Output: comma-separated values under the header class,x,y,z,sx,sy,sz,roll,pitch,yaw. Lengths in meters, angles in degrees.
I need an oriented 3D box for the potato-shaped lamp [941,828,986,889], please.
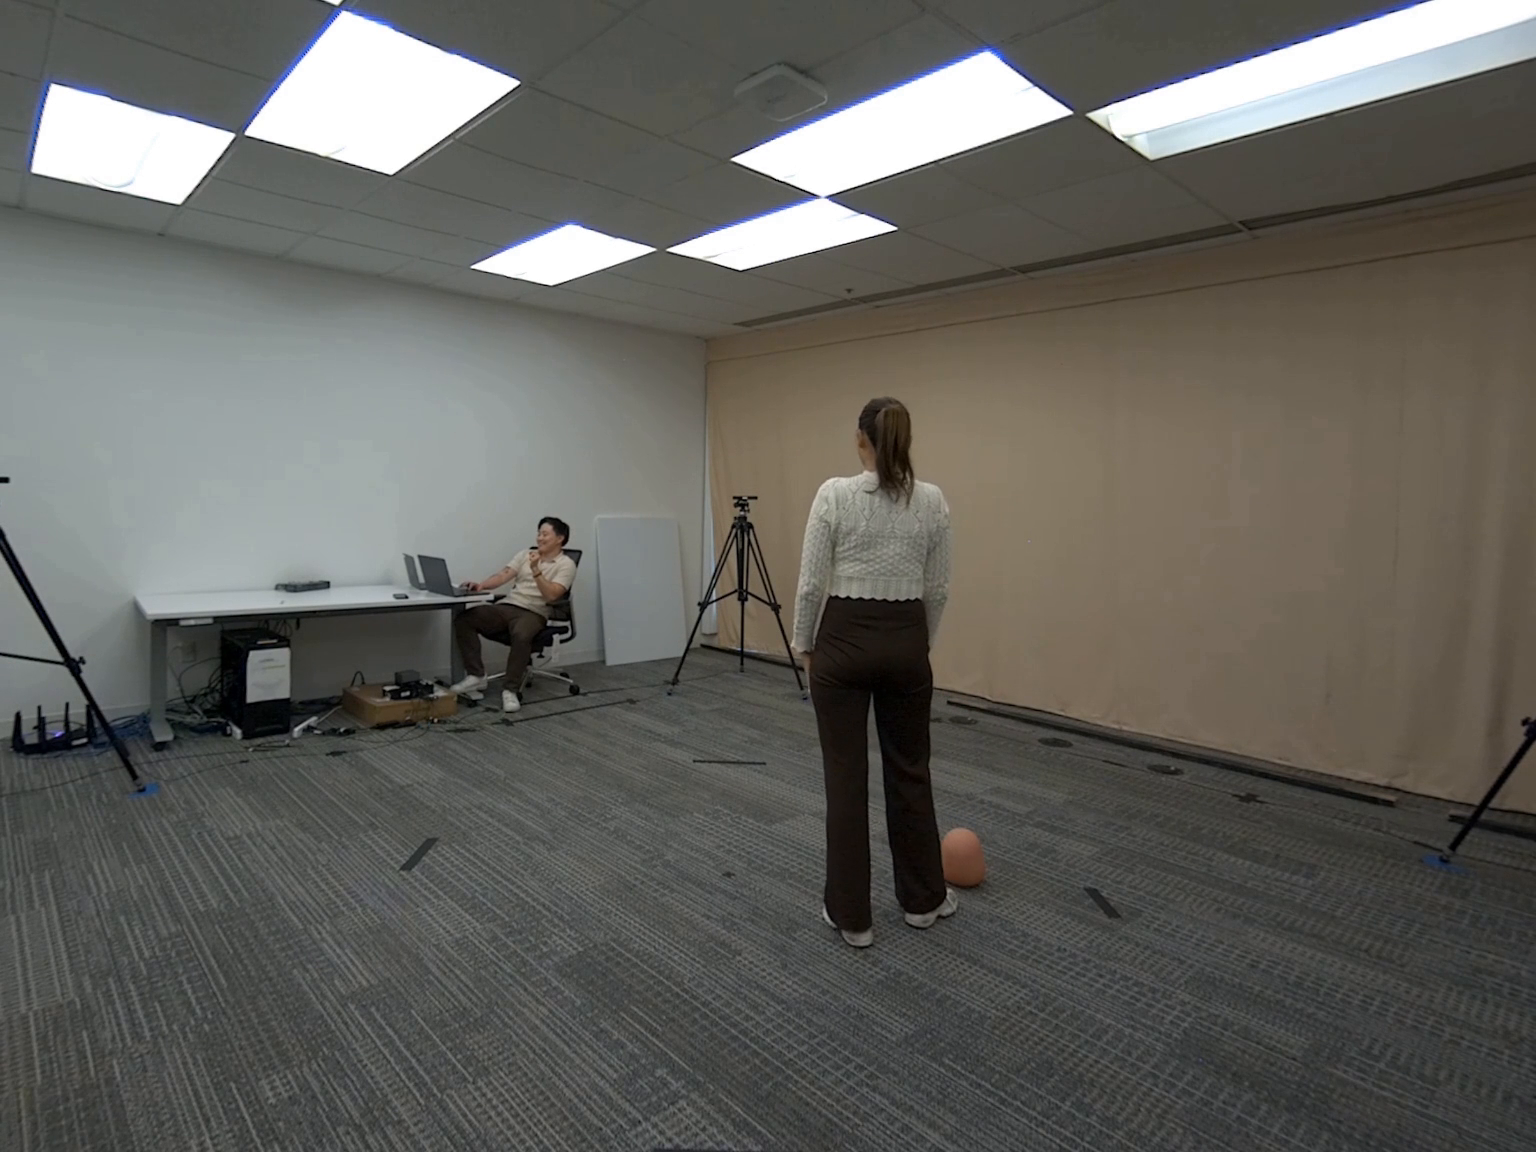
class,x,y,z,sx,sy,sz,roll,pitch,yaw
potato-shaped lamp,0.701,1.024,3.093,0.168,0.198,0.167,0,-3,39
